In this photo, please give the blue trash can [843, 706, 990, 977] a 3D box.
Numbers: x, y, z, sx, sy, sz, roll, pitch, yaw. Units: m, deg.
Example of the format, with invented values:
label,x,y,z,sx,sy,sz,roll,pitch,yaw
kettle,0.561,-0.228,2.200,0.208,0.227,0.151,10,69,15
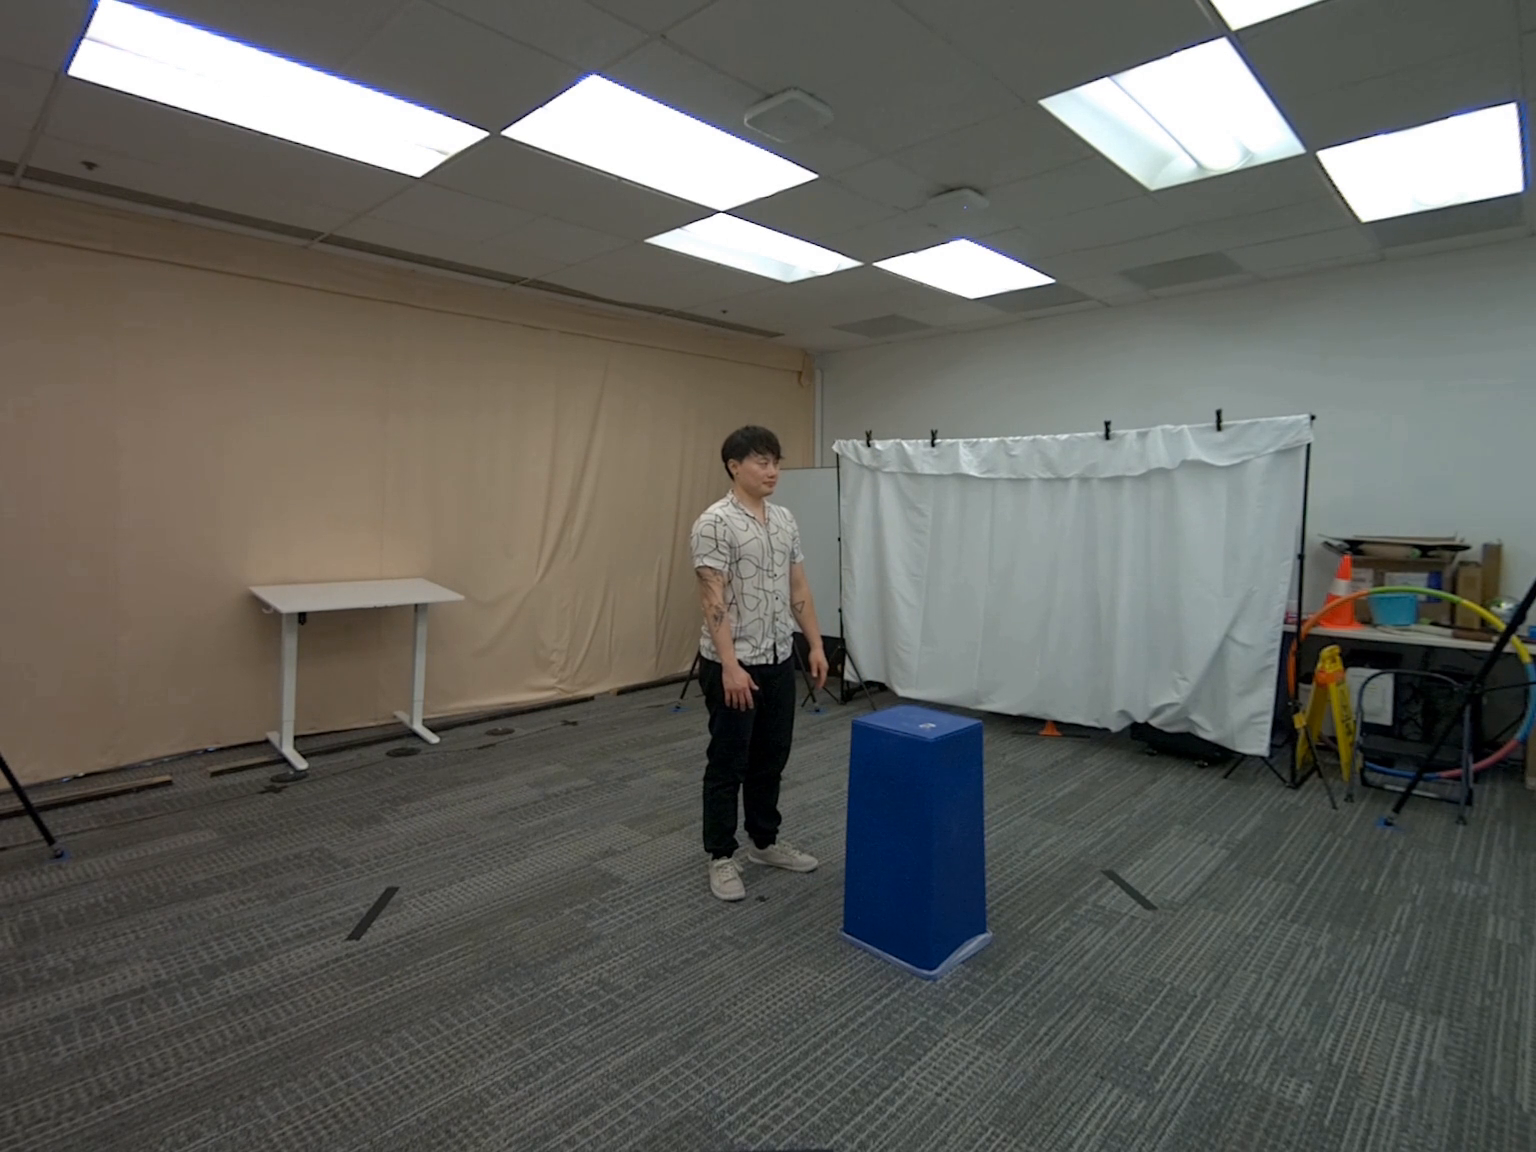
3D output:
label,x,y,z,sx,sy,sz,roll,pitch,yaw
blue trash can,0.488,0.810,2.694,0.362,0.712,0.391,-3,5,-44
